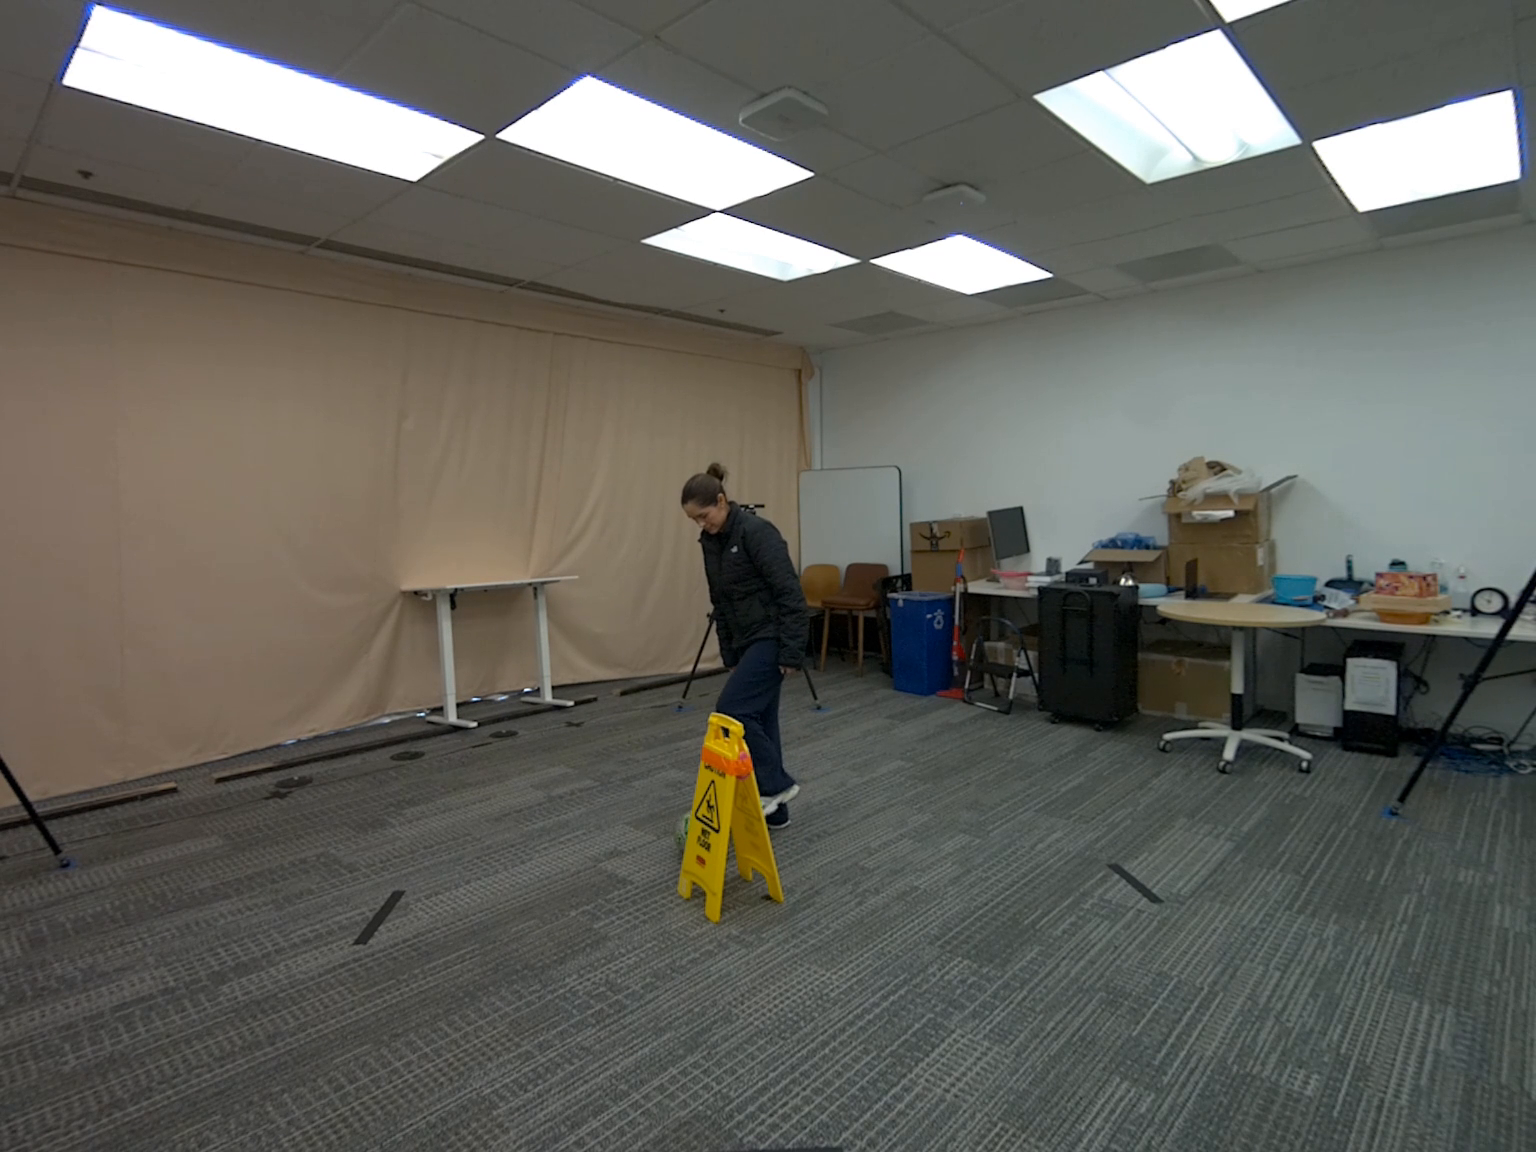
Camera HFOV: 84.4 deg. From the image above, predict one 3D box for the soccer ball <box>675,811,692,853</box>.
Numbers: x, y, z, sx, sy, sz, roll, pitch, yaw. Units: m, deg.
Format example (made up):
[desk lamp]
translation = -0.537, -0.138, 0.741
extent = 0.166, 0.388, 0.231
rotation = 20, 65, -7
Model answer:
[soccer ball]
translation = -0.279, 1.012, 3.326
extent = 0.187, 0.187, 0.188
rotation = -1, 4, -2
